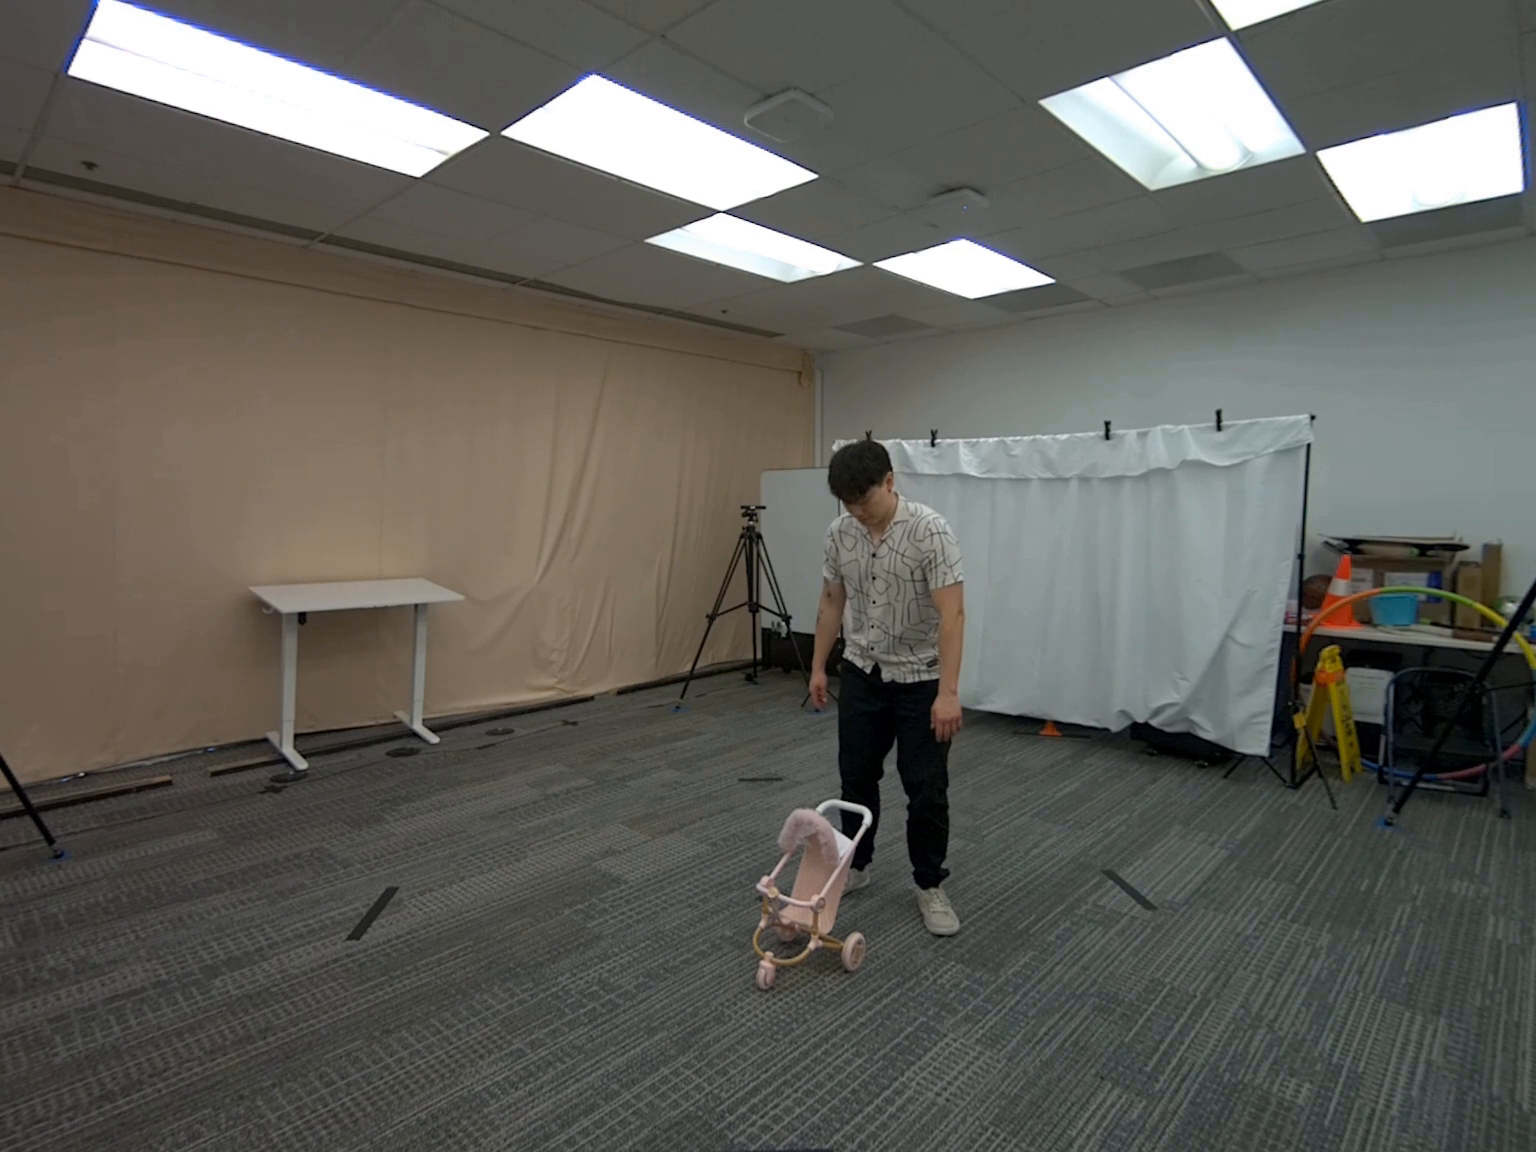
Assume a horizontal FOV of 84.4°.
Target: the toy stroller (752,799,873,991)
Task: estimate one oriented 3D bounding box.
[{"bbox_3d":[0.121,0.954,2.555,0.329,0.537,0.291,18,-11,-43],"label":"toy stroller"}]
